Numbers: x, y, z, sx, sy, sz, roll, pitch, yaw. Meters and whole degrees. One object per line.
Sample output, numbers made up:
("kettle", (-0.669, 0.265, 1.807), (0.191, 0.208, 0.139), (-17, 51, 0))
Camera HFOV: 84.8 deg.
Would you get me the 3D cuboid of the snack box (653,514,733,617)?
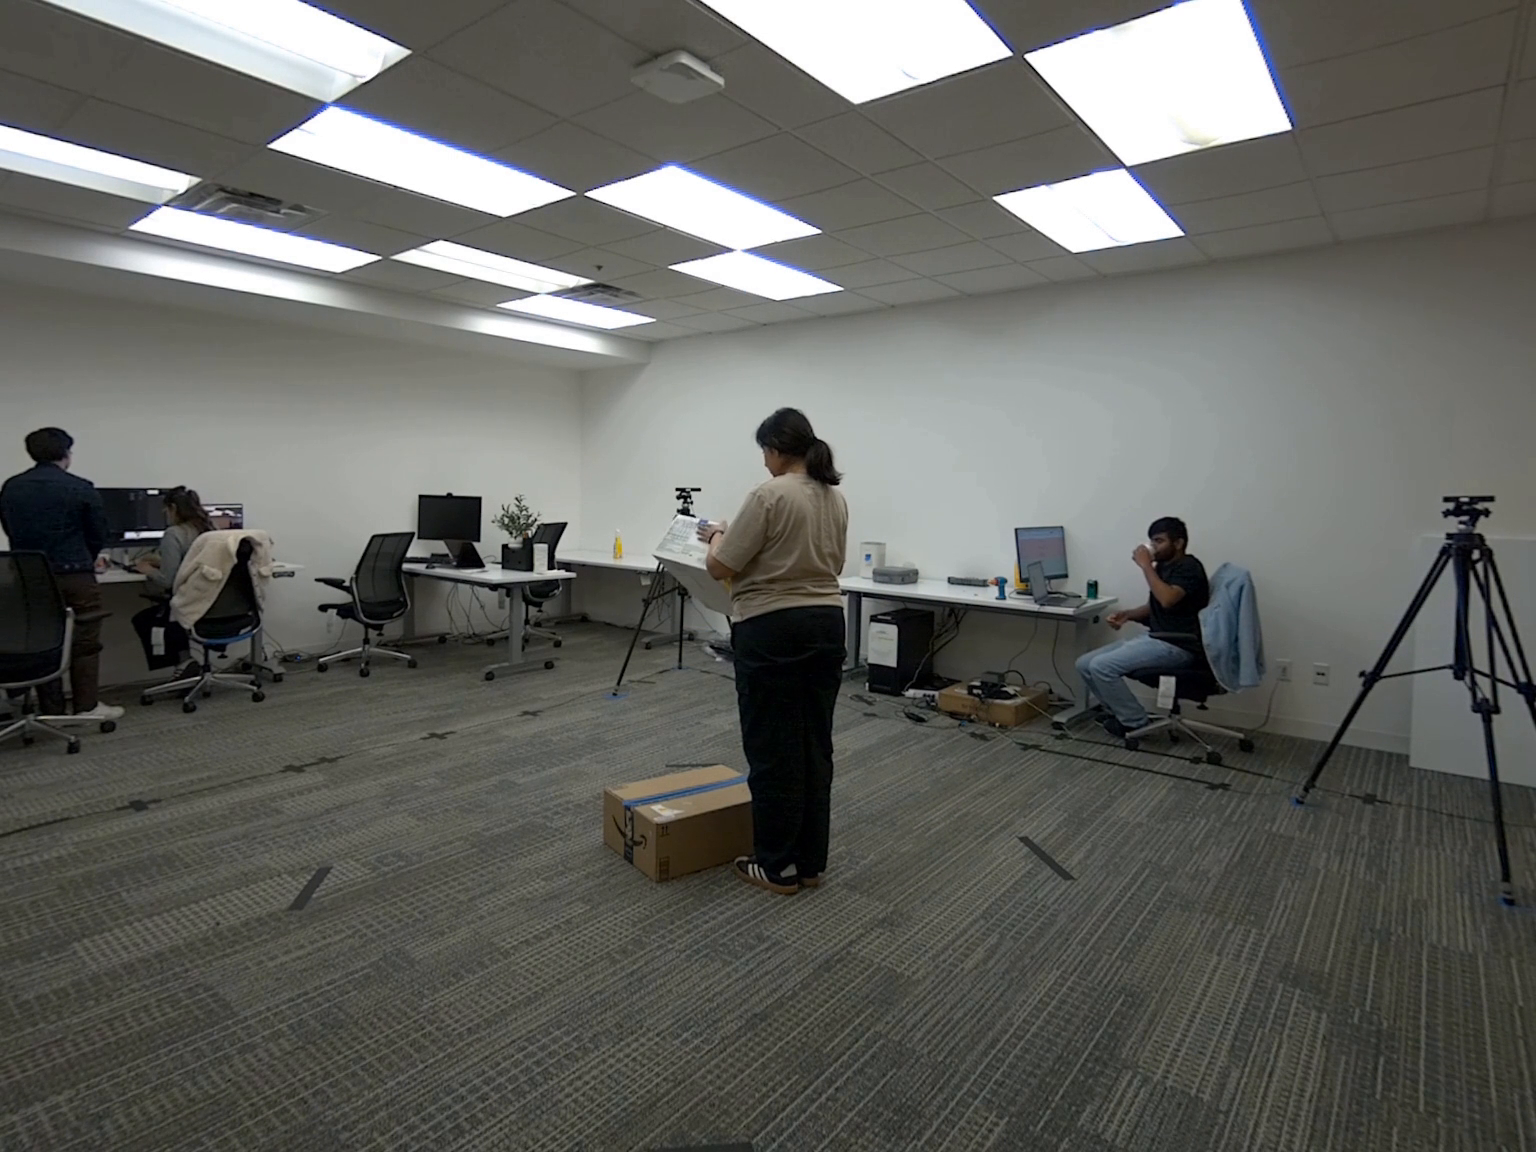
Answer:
("snack box", (-0.203, -0.026, 3.362), (0.353, 0.206, 0.388), (14, -25, 45))
